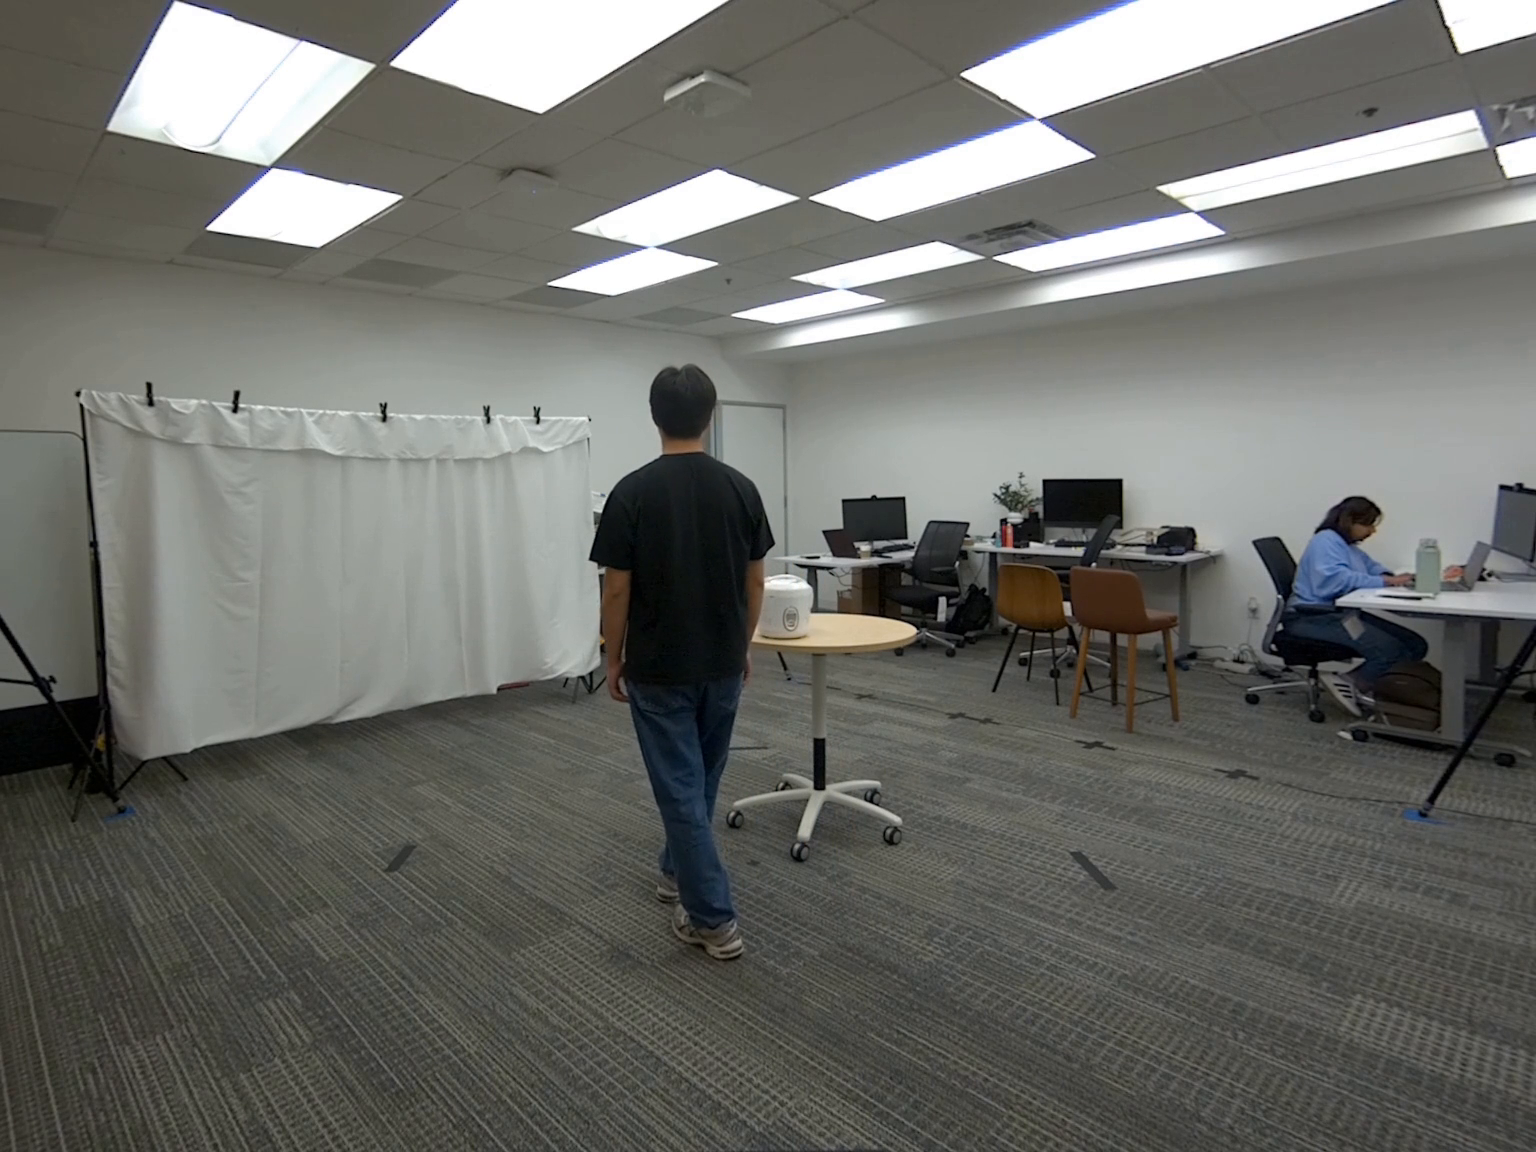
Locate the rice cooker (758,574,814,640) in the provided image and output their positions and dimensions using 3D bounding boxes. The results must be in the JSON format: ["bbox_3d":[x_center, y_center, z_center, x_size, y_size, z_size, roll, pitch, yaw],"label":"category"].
[{"bbox_3d":[0.068,0.111,3.249,0.218,0.232,0.220,-2,4,-12],"label":"rice cooker"}]
